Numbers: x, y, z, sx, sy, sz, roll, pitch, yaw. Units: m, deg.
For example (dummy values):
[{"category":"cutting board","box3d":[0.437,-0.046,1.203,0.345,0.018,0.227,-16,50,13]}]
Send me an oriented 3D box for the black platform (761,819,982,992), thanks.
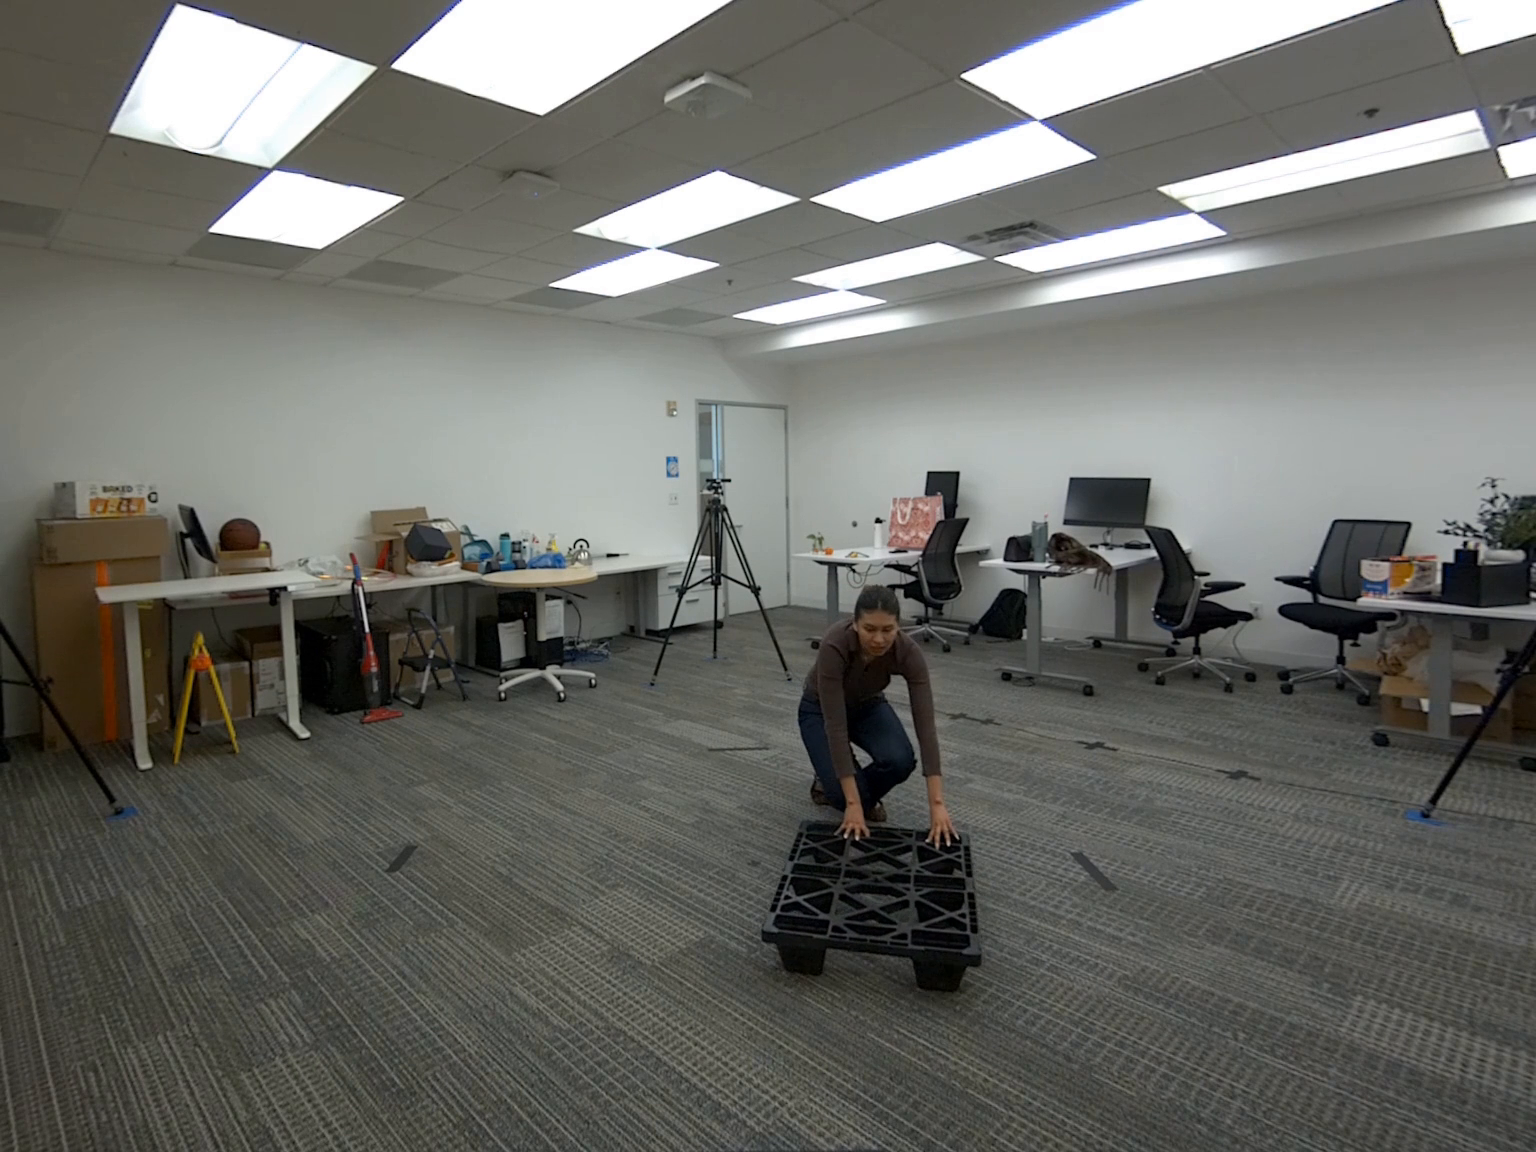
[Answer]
[{"category":"black platform","box3d":[0.351,1.017,2.715,0.613,0.142,0.799,1,7,12]}]
